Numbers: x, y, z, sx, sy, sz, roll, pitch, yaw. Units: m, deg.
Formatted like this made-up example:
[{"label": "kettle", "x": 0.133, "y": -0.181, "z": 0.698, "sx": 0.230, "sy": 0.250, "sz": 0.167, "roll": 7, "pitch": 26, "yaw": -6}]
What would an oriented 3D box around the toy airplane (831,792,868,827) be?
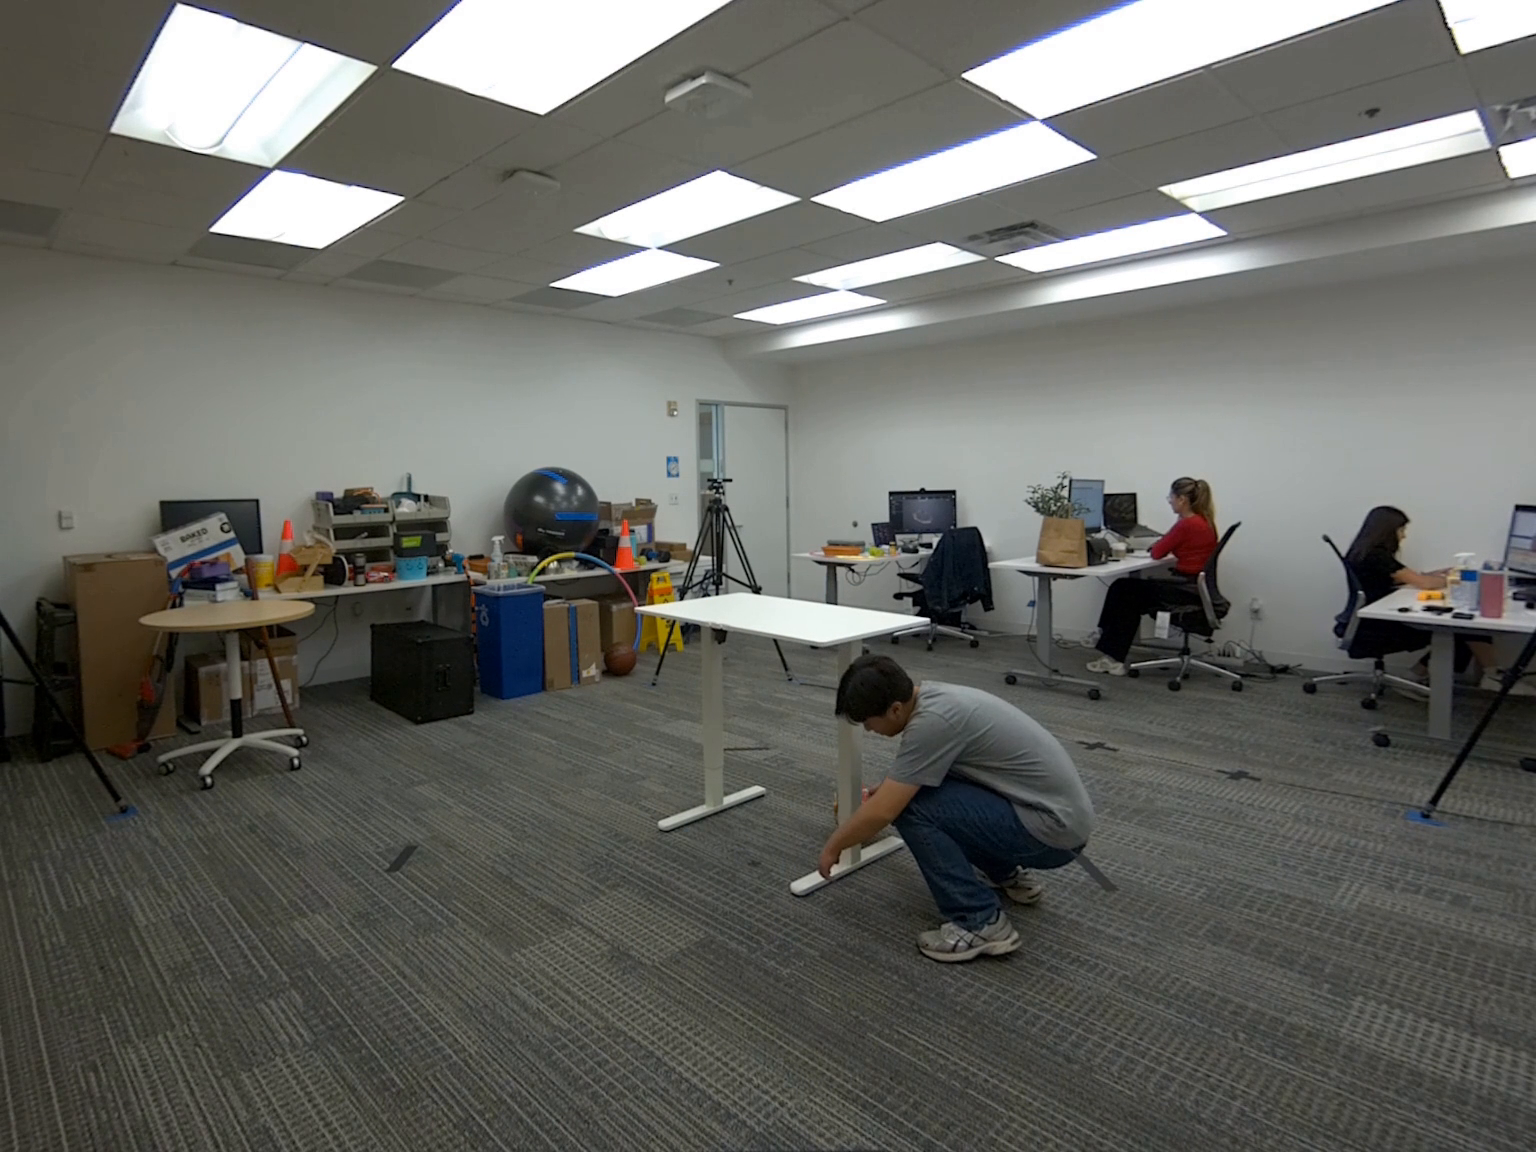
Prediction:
[{"label": "toy airplane", "x": 0.384, "y": 0.897, "z": 3.330, "sx": 0.256, "sy": 0.156, "sz": 0.255, "roll": -18, "pitch": 6, "yaw": -19}]
